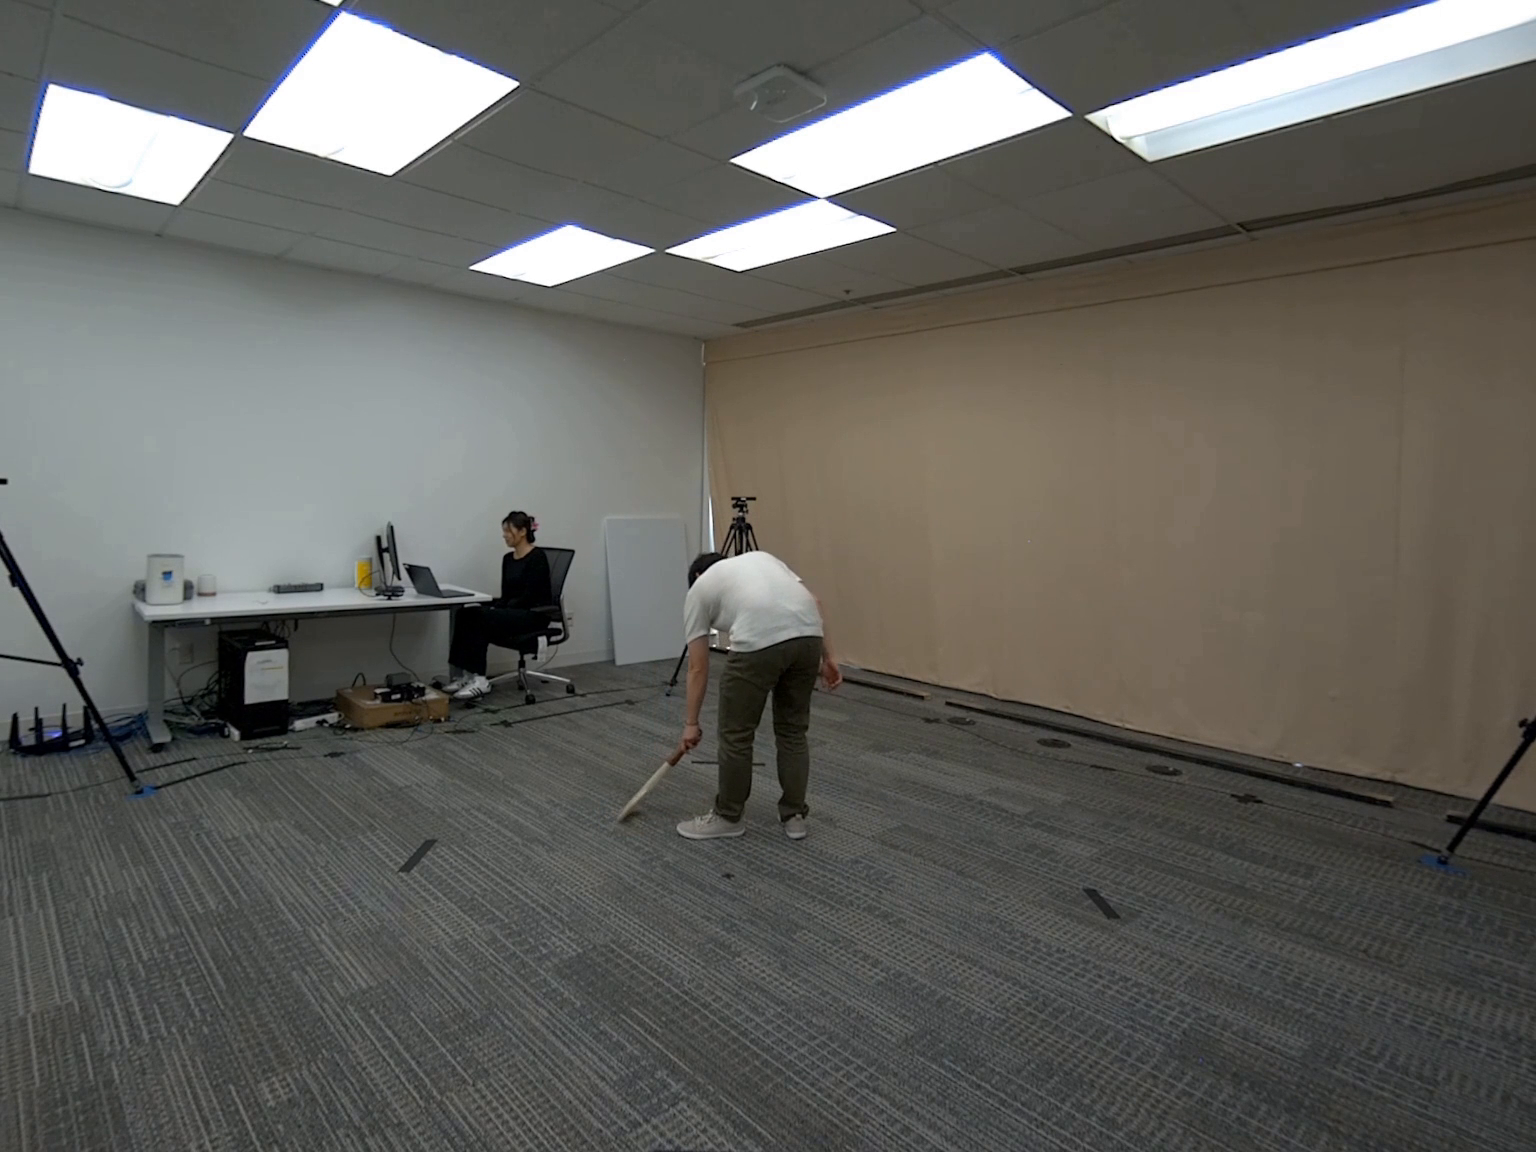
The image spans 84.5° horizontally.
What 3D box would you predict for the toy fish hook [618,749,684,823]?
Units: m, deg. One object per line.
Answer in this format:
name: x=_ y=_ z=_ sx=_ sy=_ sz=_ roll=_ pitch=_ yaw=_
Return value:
toy fish hook: x=-0.466 y=0.853 z=3.613 sx=0.048 sy=0.506 sz=0.224 roll=42 pitch=2 yaw=1
